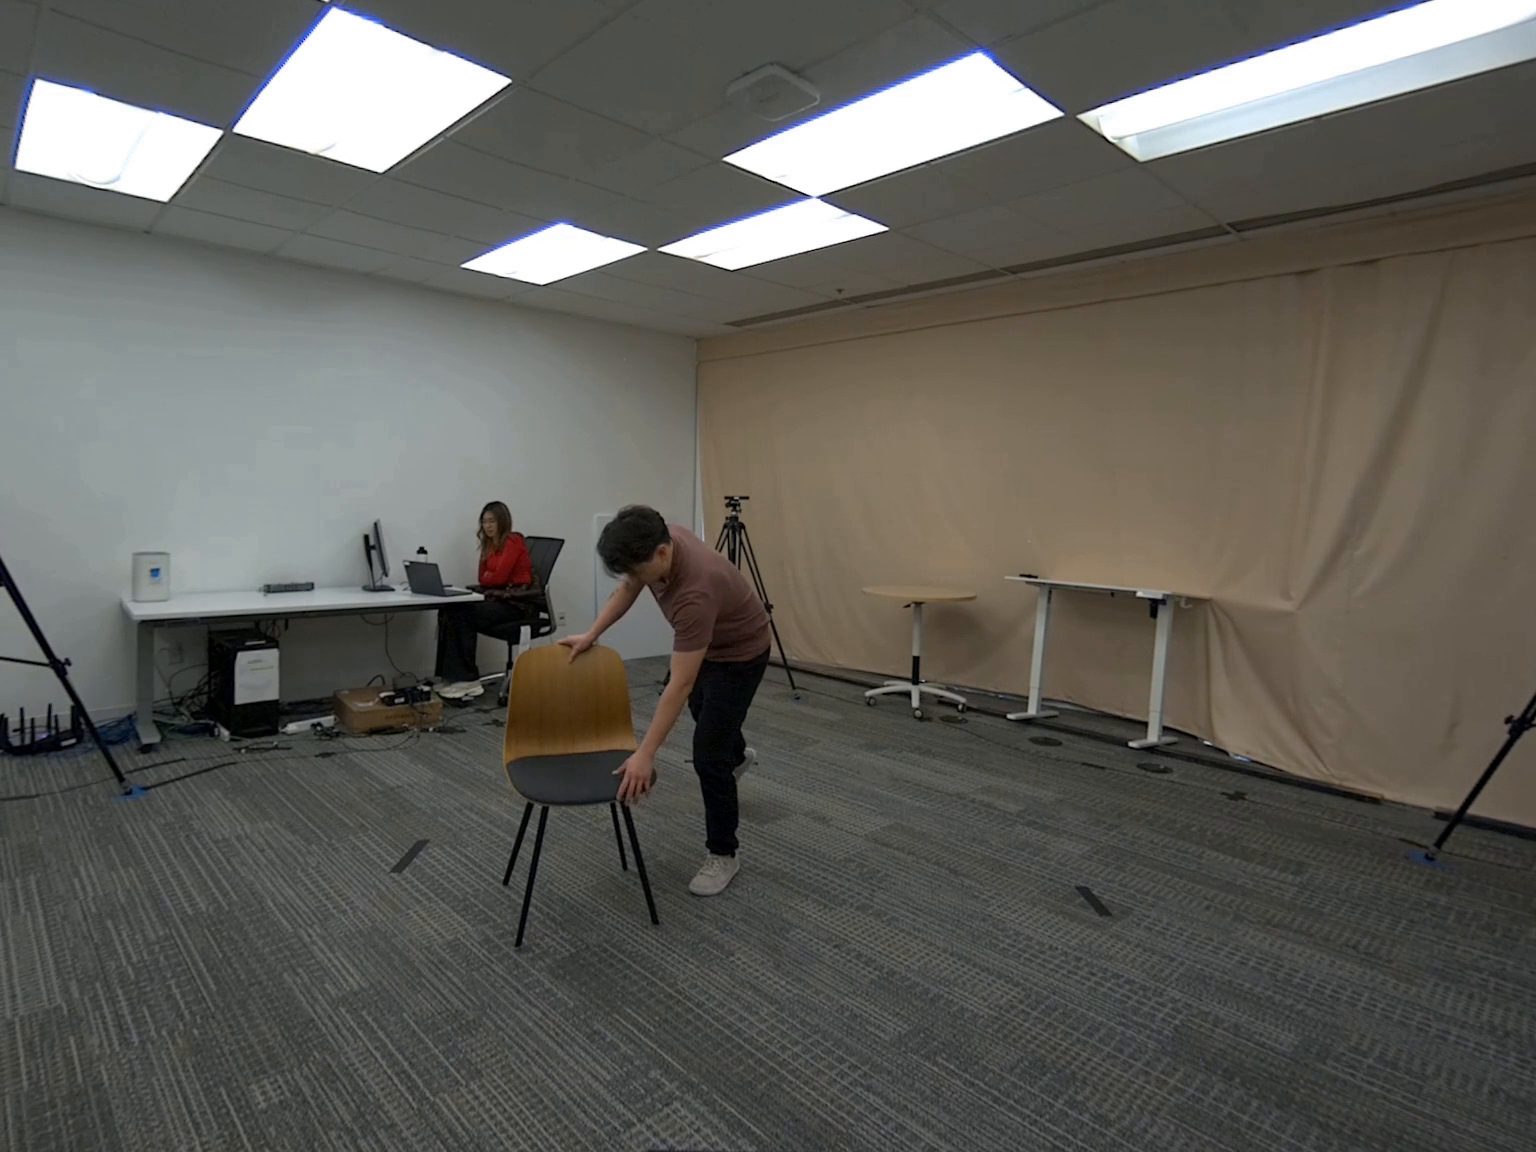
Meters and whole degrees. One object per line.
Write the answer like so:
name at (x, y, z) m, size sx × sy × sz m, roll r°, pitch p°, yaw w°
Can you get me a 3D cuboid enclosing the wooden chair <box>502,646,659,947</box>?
wooden chair at (-0.641, 0.689, 2.818) m, size 0.470 × 0.878 × 0.531 m, roll 0°, pitch -1°, yaw -21°
